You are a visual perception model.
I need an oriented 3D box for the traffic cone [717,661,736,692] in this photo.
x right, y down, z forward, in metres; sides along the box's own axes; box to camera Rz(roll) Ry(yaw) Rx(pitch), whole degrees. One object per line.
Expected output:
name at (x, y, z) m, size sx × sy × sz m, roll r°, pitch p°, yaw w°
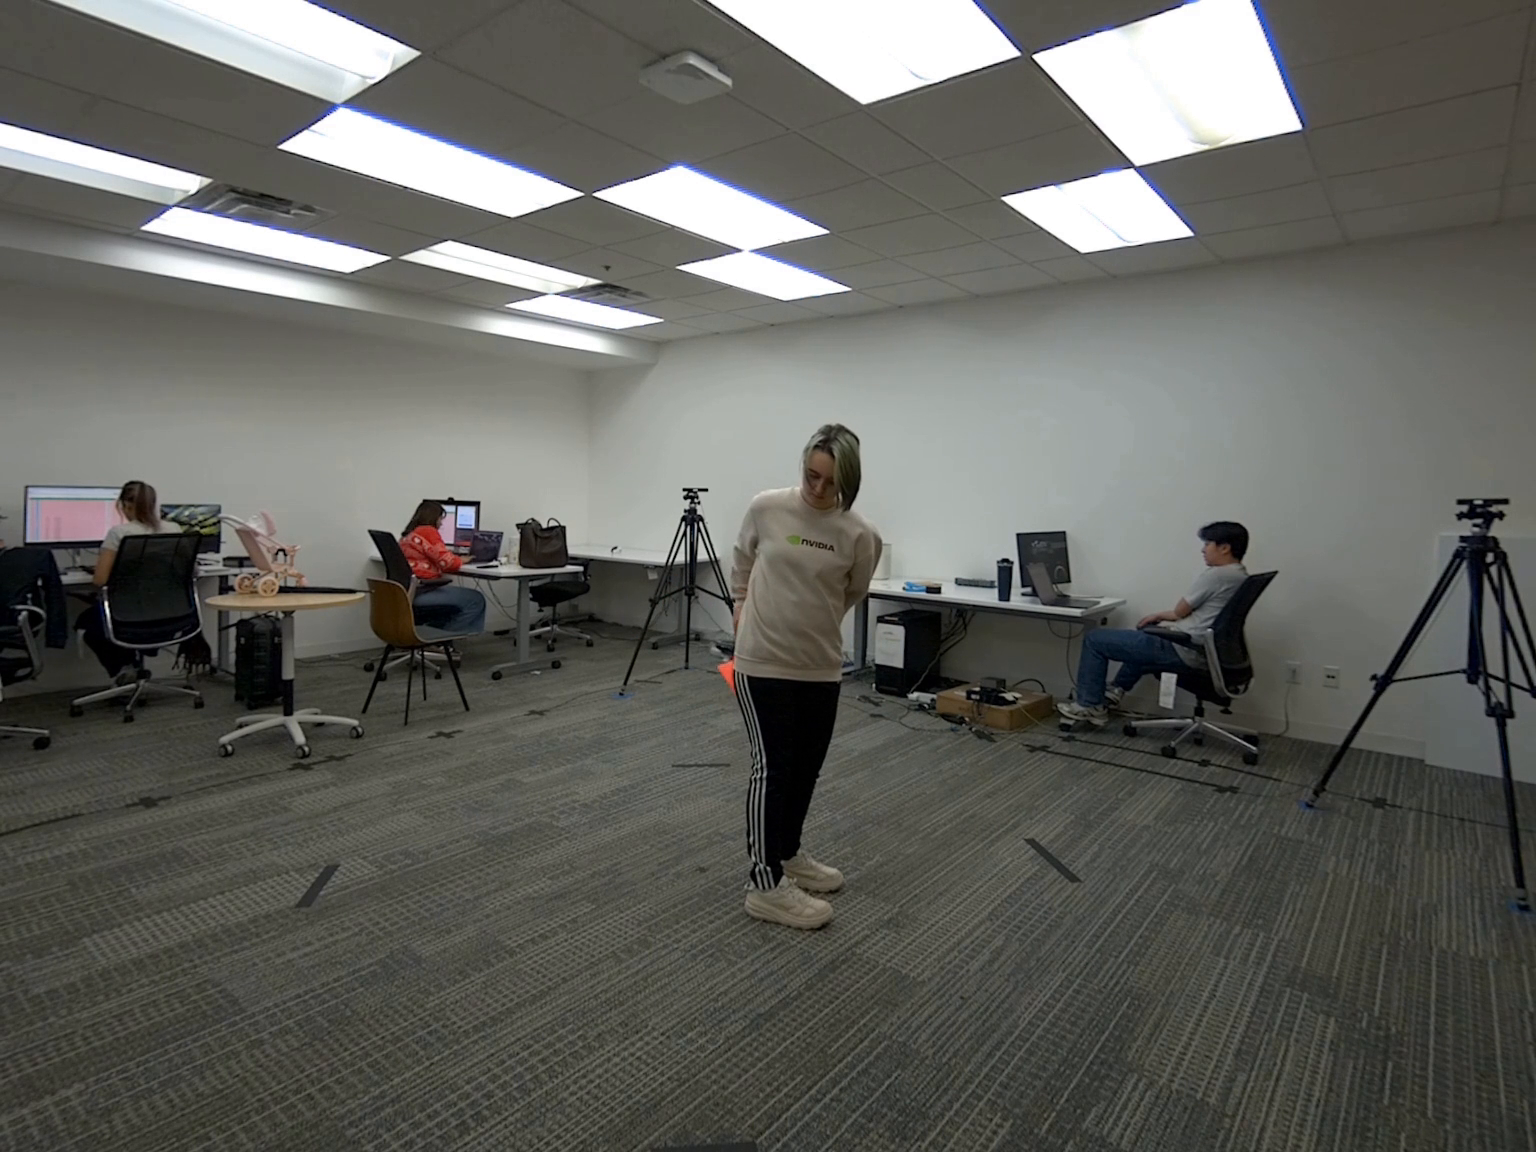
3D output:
traffic cone at (-0.085, 0.223, 3.115) m, size 0.200 × 0.373 × 0.214 m, roll -23°, pitch 38°, yaw -26°
